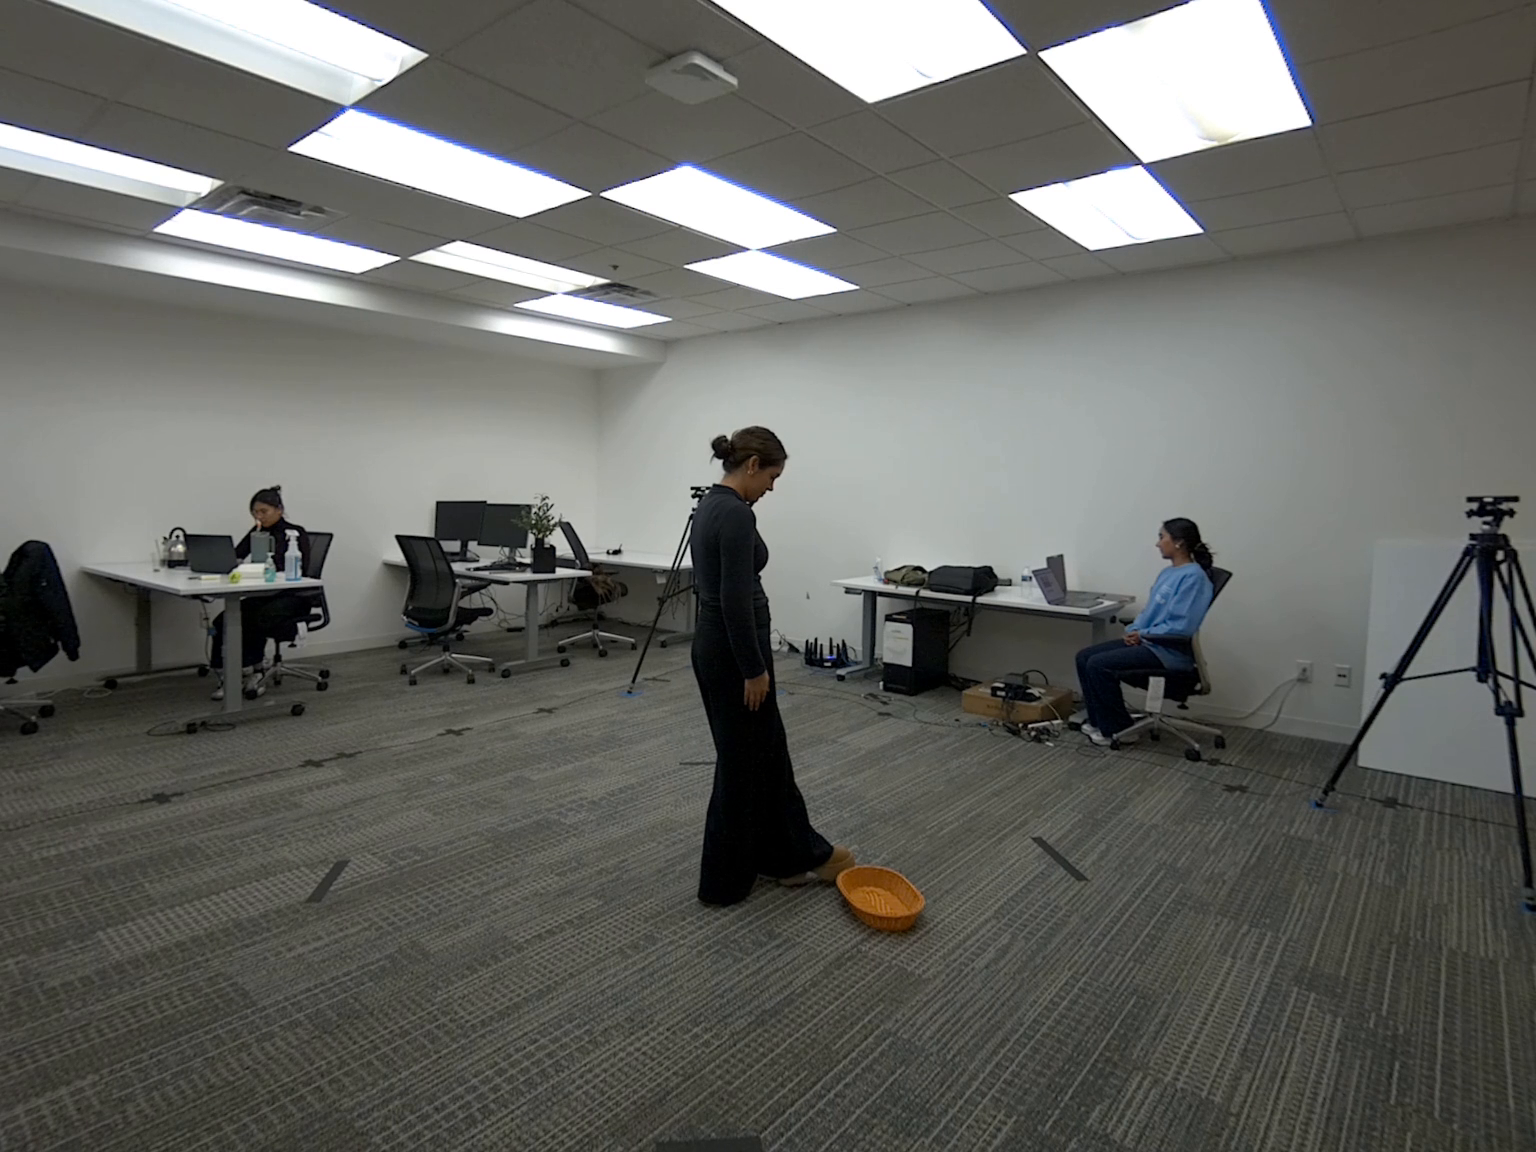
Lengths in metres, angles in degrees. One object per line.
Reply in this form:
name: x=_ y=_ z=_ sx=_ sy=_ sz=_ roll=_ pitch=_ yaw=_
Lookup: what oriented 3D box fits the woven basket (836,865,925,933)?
woven basket: x=0.364 y=1.068 z=2.821 sx=0.249 sy=0.073 sz=0.357 roll=-2 pitch=6 yaw=-14
